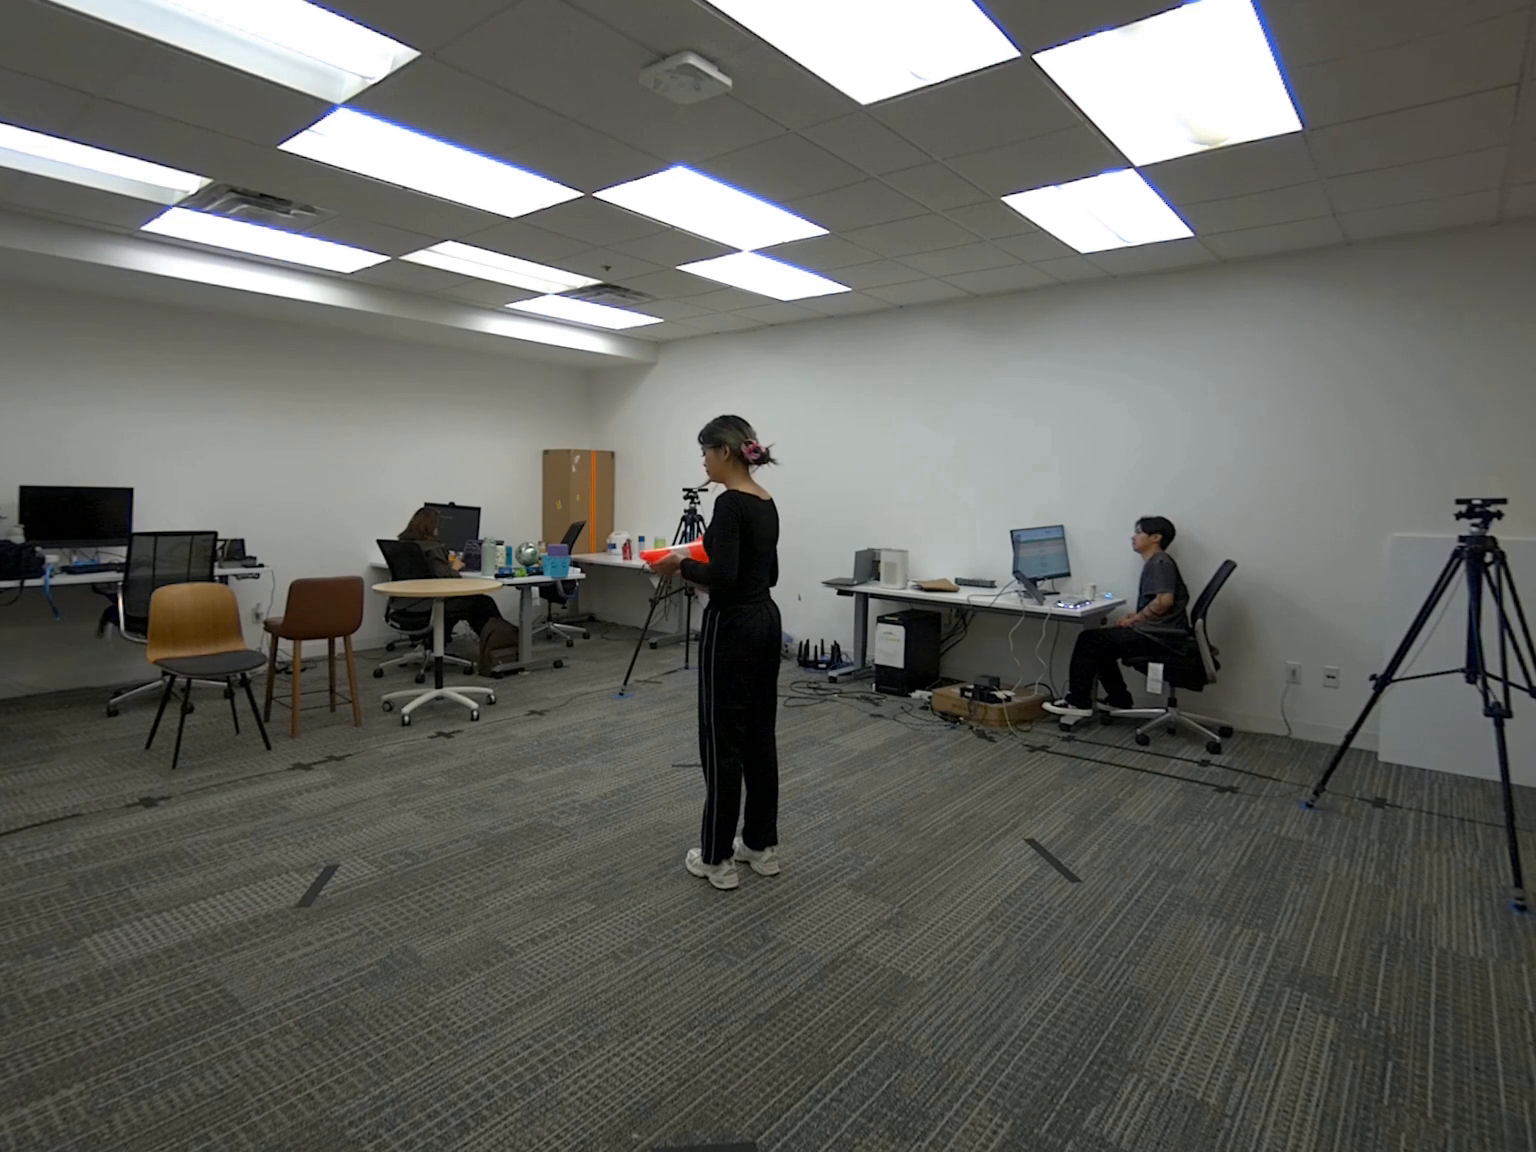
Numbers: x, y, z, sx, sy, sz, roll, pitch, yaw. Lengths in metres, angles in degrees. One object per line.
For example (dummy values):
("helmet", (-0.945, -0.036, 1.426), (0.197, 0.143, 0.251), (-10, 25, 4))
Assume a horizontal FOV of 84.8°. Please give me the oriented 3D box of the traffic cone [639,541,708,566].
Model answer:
("traffic cone", (-0.335, -0.067, 3.085), (0.206, 0.208, 0.371), (-36, -21, 28))
